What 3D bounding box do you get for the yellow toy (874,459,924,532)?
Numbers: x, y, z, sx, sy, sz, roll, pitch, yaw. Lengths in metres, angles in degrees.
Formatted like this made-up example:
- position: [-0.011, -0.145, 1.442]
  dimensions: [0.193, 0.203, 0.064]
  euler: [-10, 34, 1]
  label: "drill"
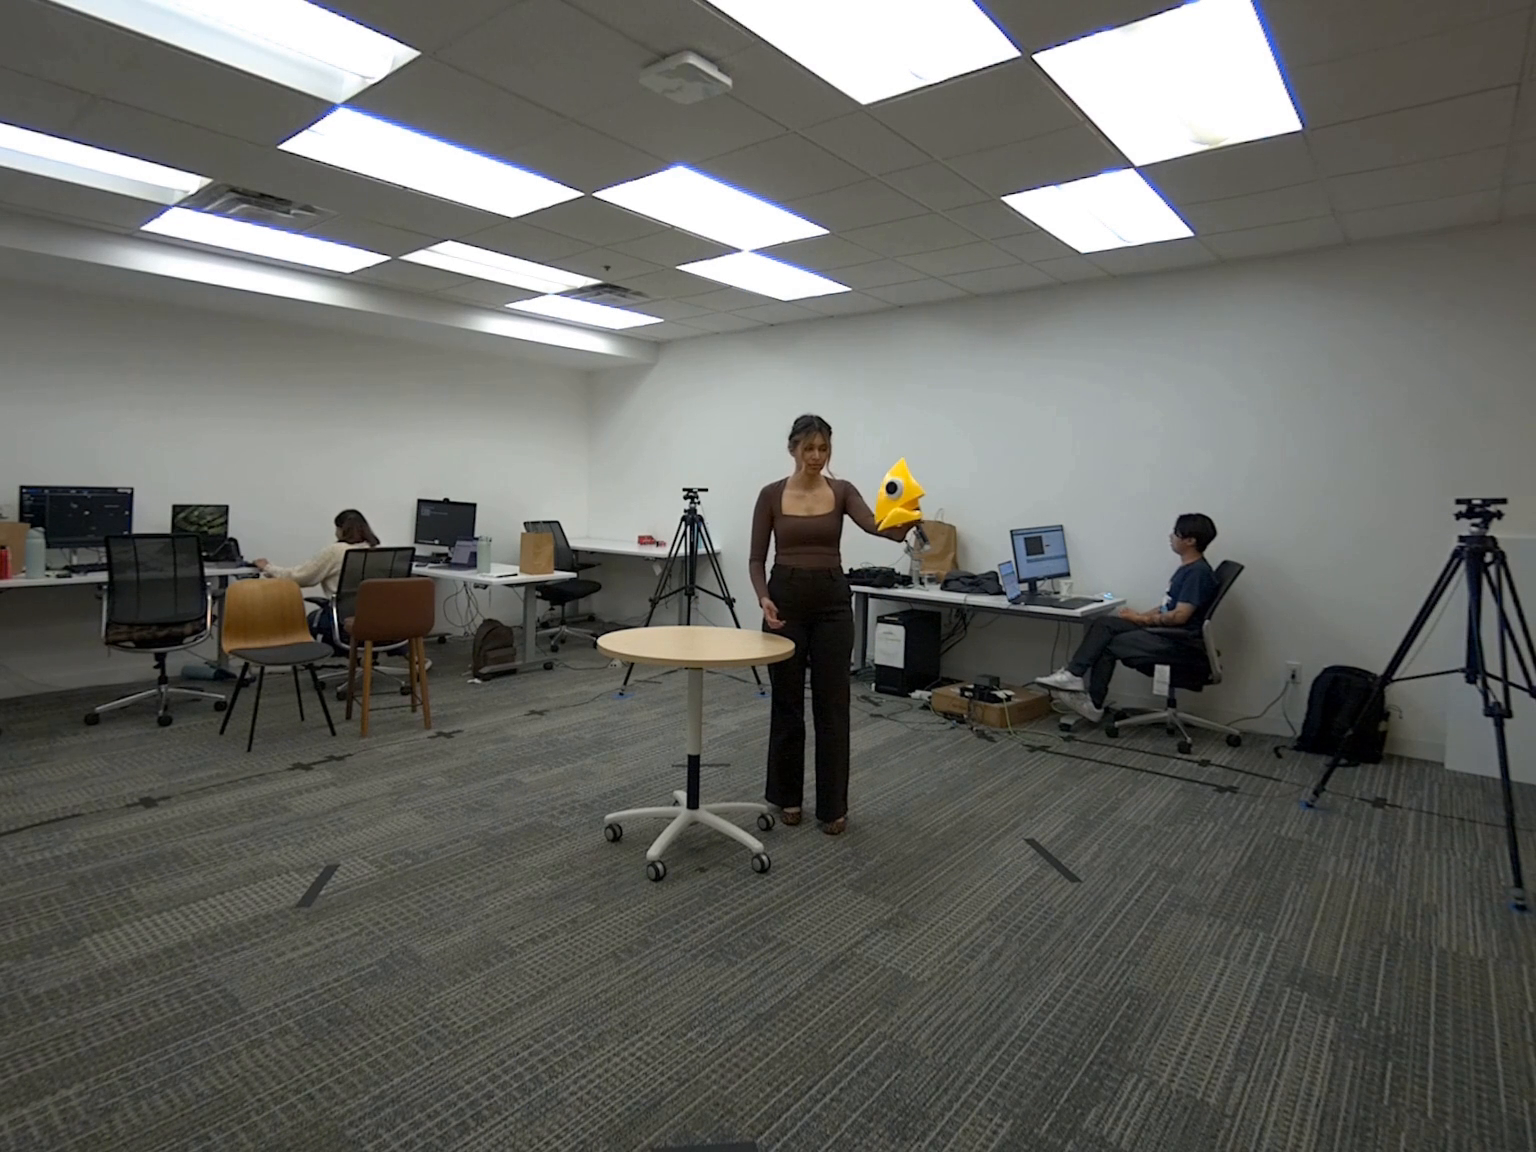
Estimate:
- position: [0.460, -0.306, 3.086]
  dimensions: [0.194, 0.232, 0.203]
  euler: [-14, -3, 4]
  label: "yellow toy"
